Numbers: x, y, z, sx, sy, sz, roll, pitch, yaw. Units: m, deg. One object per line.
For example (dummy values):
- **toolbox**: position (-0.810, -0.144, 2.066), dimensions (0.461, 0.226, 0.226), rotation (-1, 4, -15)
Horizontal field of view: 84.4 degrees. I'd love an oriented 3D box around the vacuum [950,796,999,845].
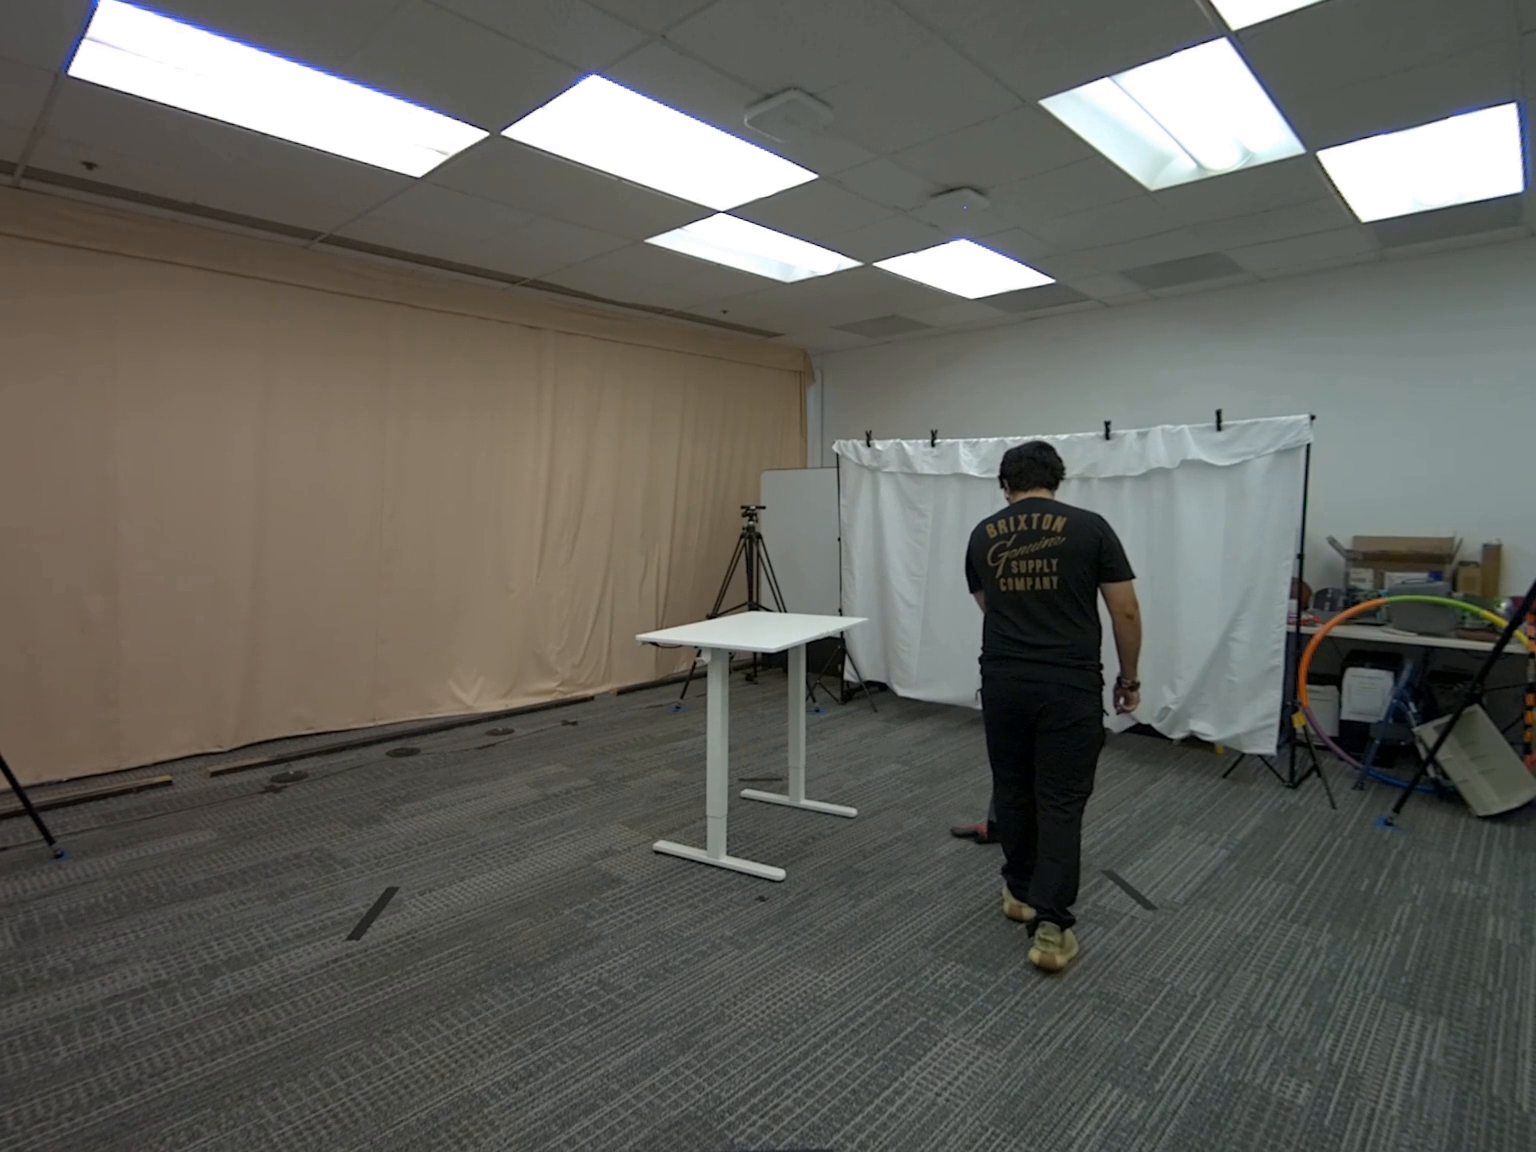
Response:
- **vacuum**: position (0.990, 0.690, 3.234), dimensions (0.249, 1.036, 0.148), rotation (-1, 39, -15)
